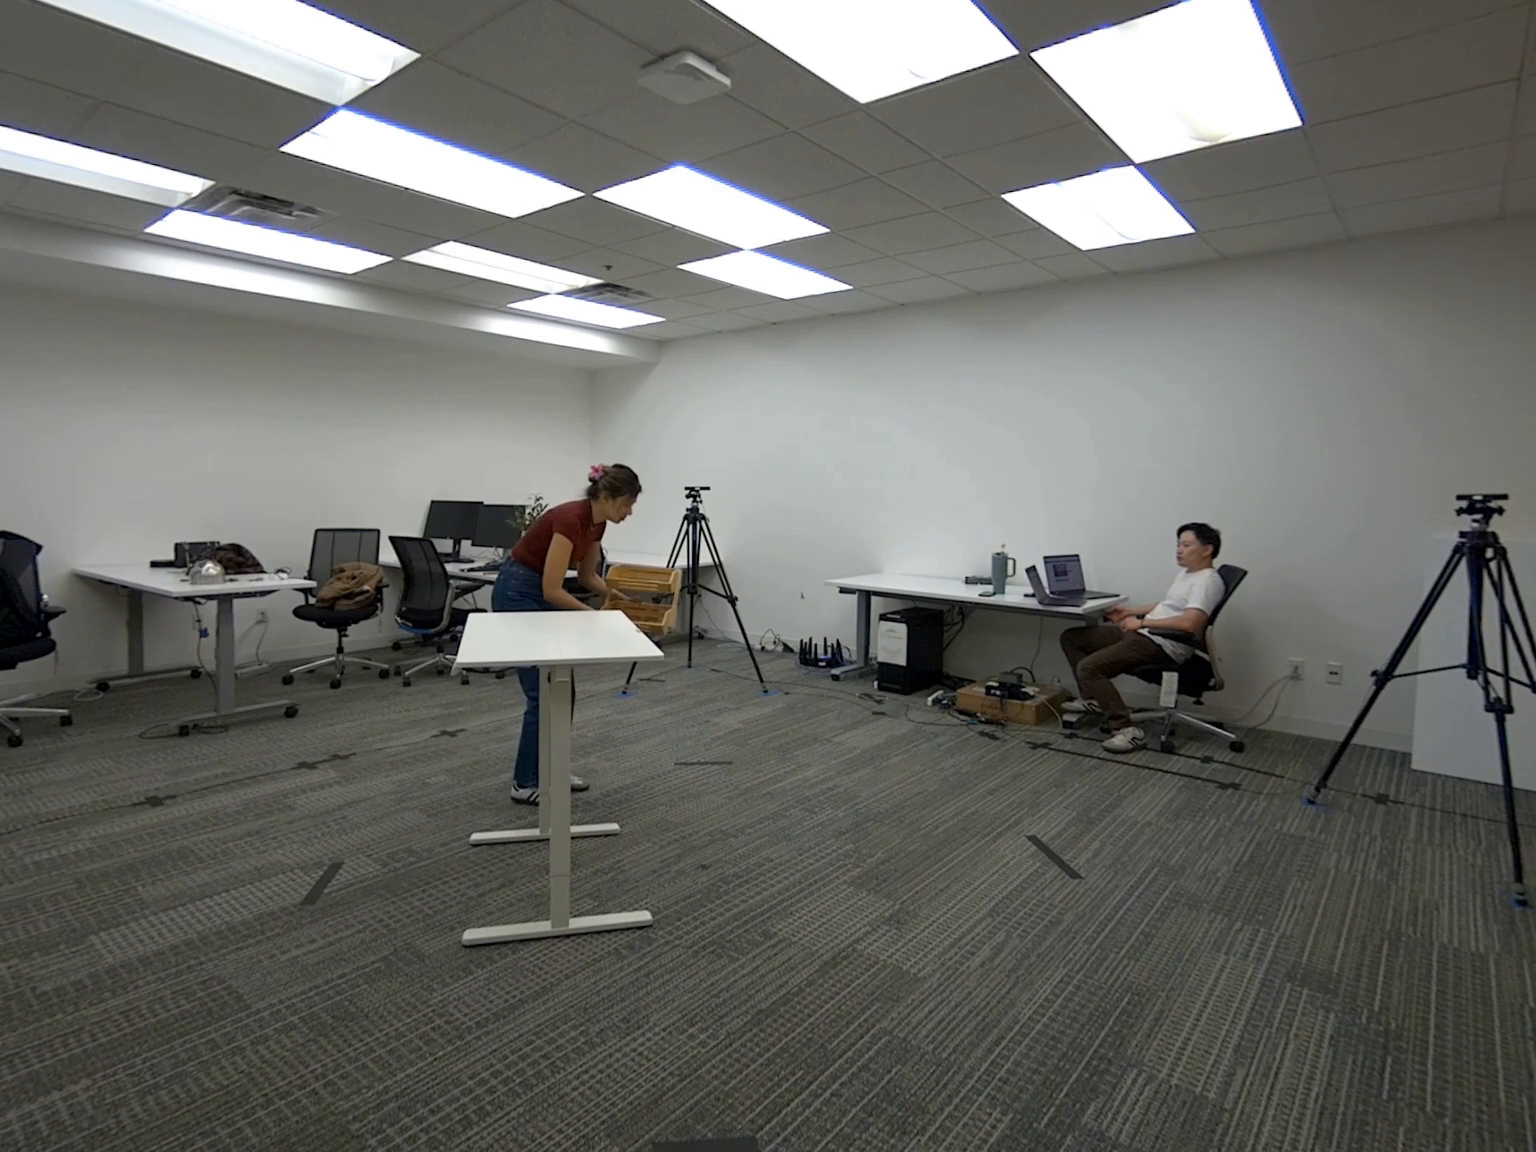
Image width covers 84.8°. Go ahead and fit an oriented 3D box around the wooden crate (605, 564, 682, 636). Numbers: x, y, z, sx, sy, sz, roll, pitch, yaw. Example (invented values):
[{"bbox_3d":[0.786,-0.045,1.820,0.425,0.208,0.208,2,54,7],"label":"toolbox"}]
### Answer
[{"bbox_3d":[-0.591,0.102,3.829,0.328,0.272,0.301,4,7,8],"label":"wooden crate"}]
